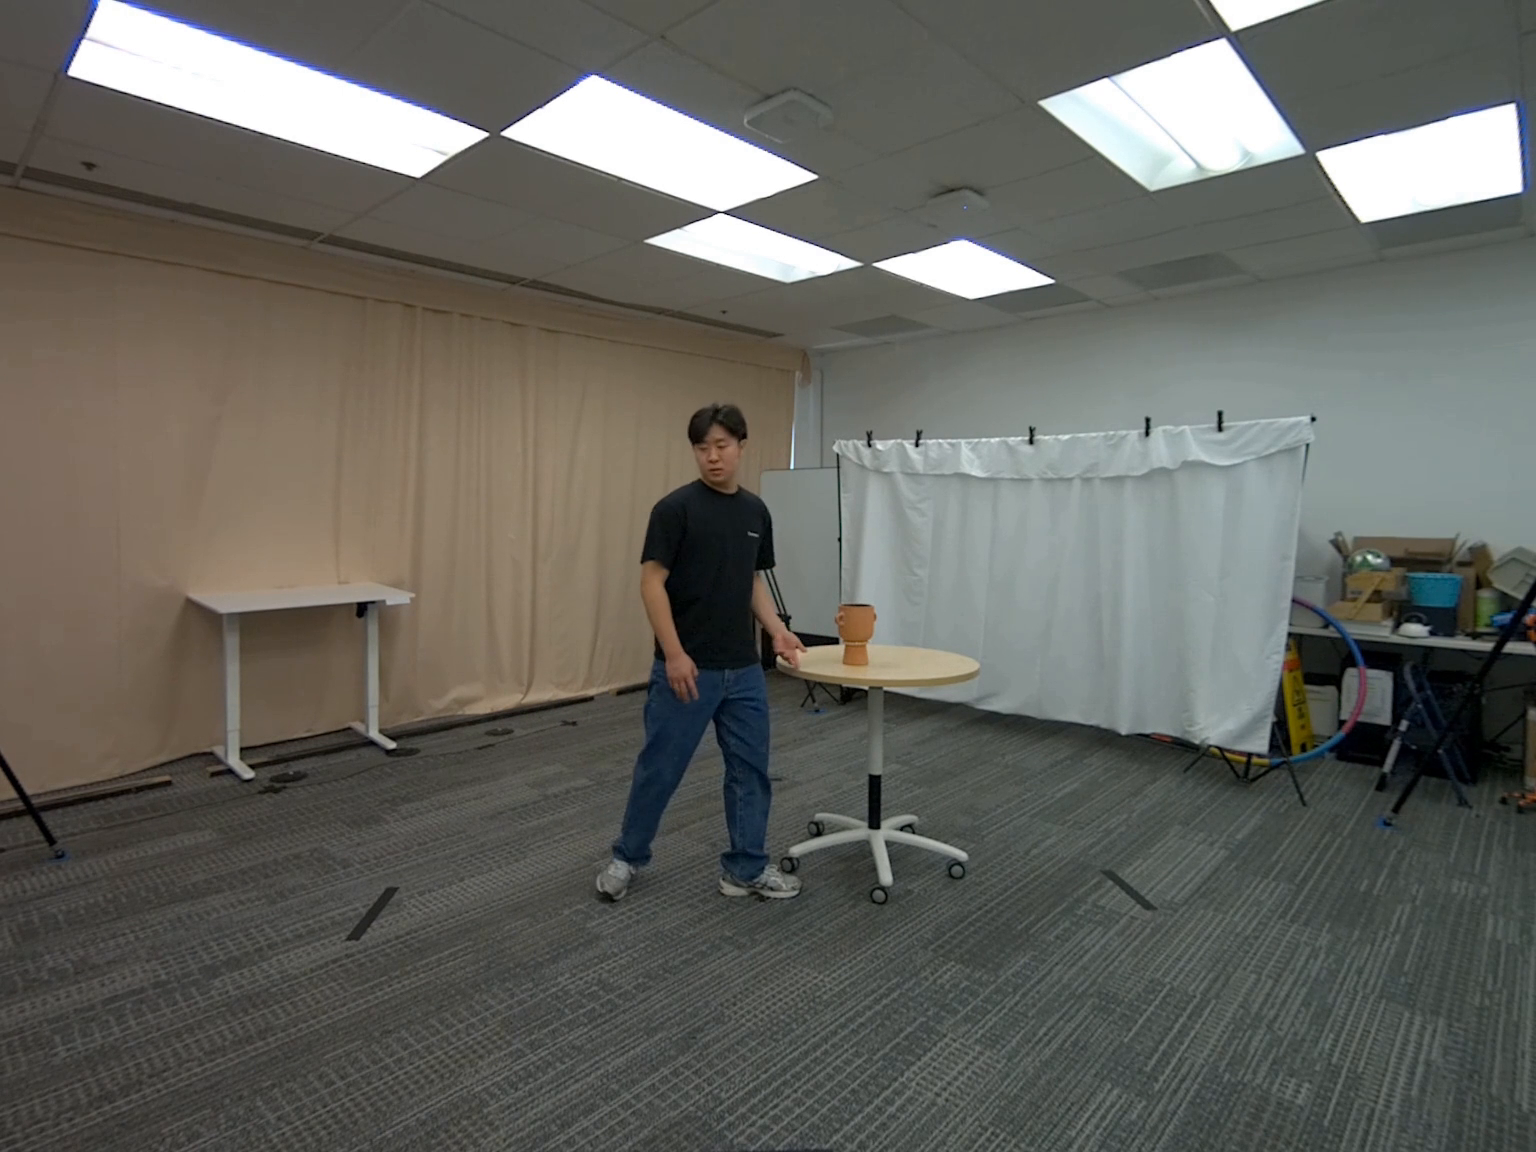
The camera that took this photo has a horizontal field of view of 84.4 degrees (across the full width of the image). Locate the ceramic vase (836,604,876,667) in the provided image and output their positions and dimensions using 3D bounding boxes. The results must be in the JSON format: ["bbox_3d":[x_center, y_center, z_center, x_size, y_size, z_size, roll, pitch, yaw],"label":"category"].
[{"bbox_3d":[0.339,0.223,3.164,0.160,0.219,0.133,0,1,8],"label":"ceramic vase"}]
